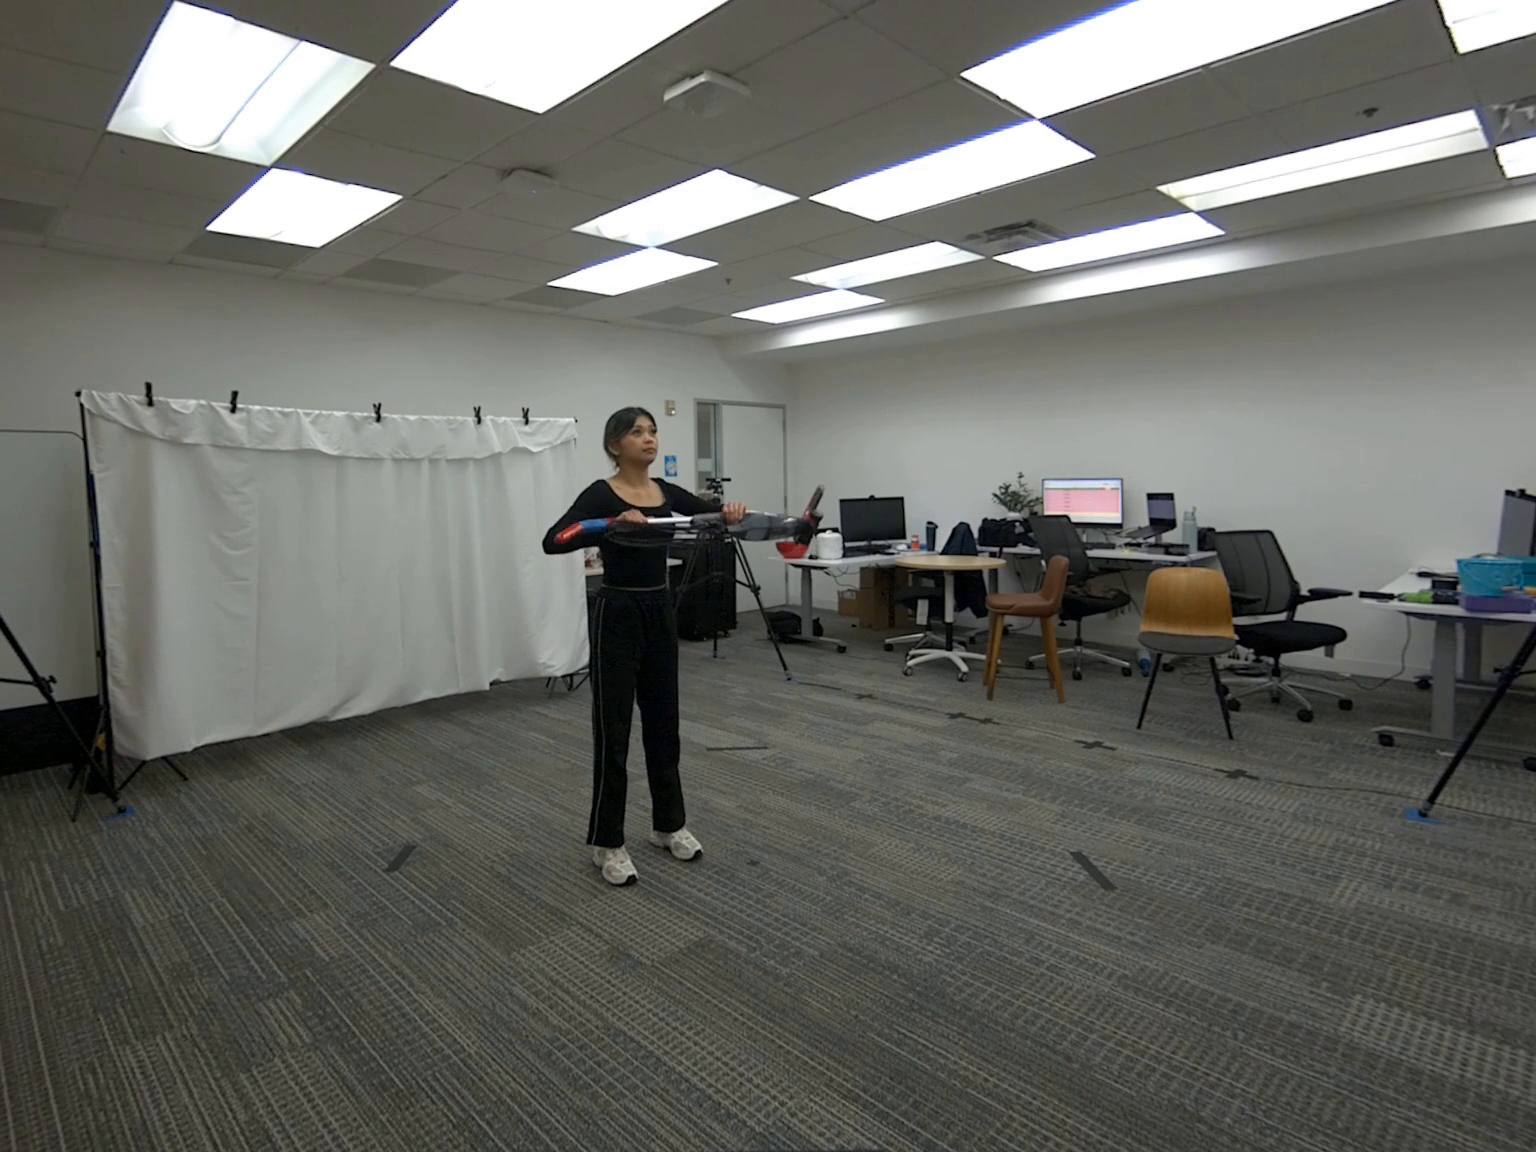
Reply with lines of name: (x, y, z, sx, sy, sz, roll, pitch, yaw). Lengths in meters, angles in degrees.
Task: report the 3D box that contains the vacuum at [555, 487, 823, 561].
vacuum: (-0.230, -0.155, 2.837, 1.022, 0.250, 0.149, -6, 46, -39)
